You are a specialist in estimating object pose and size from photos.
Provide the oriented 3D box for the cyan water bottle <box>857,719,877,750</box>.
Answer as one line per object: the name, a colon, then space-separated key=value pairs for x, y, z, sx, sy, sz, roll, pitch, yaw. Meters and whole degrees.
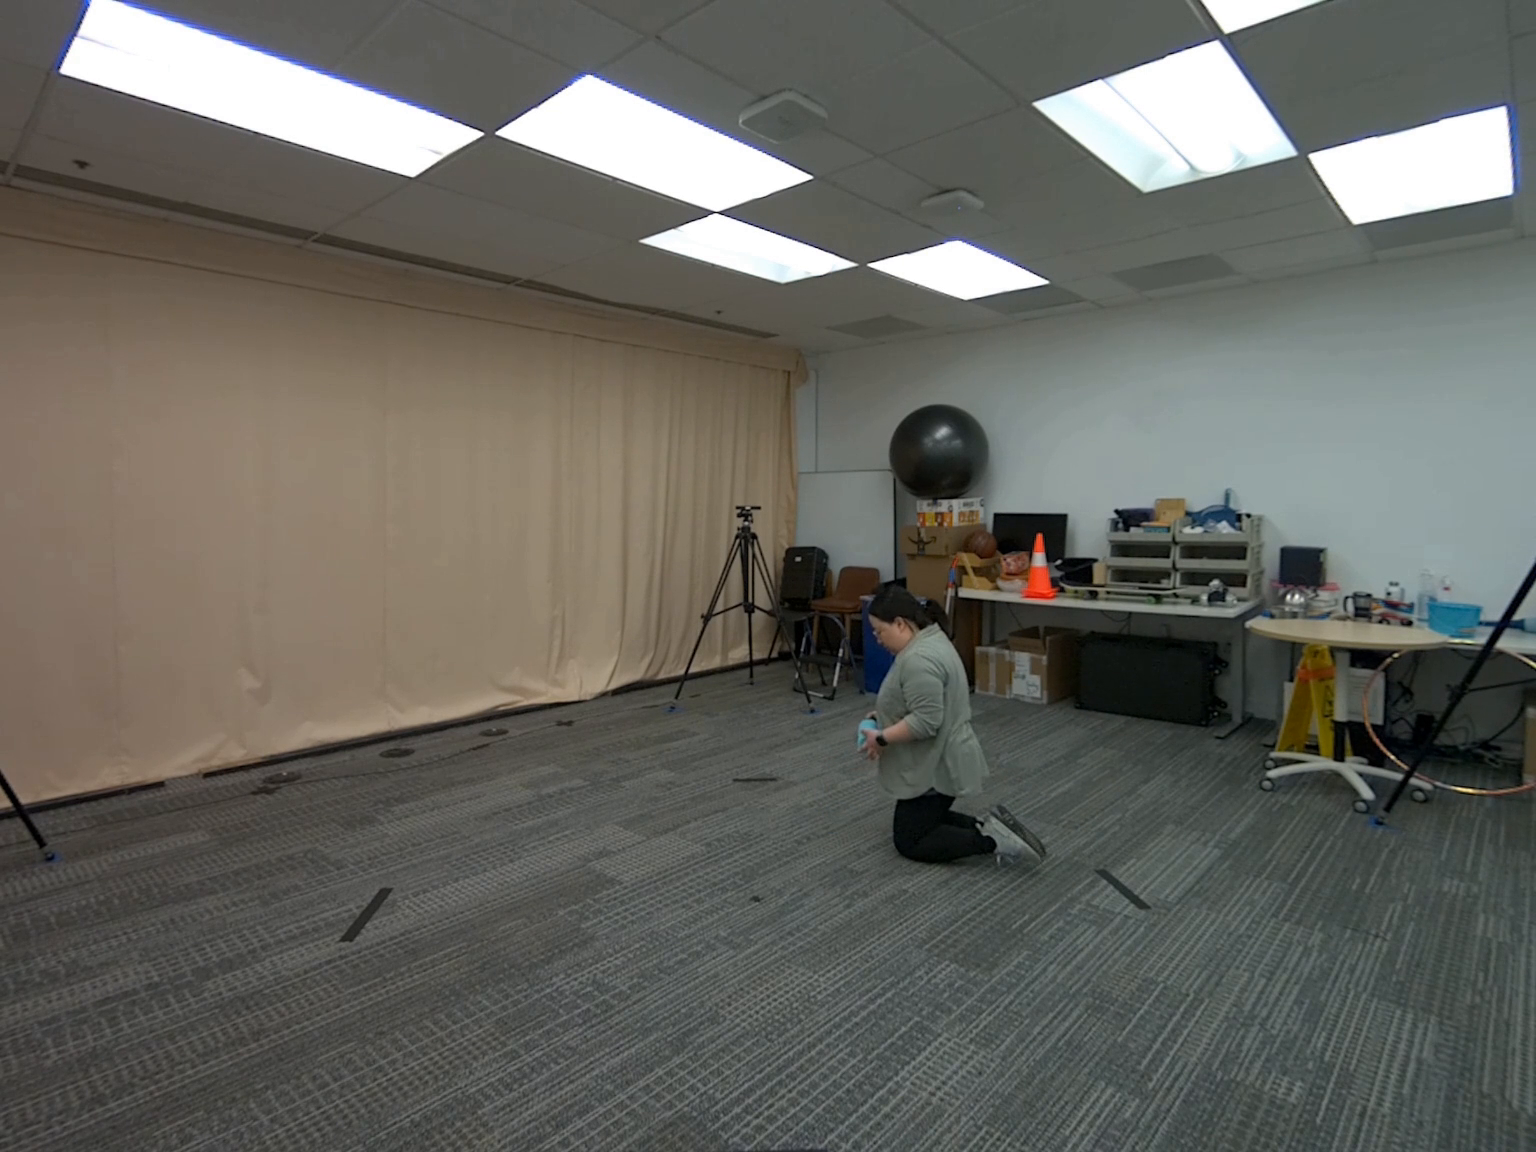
cyan water bottle: x=0.417 y=0.667 z=3.468 sx=0.093 sy=0.092 sz=0.282 roll=0 pitch=8 yaw=5
